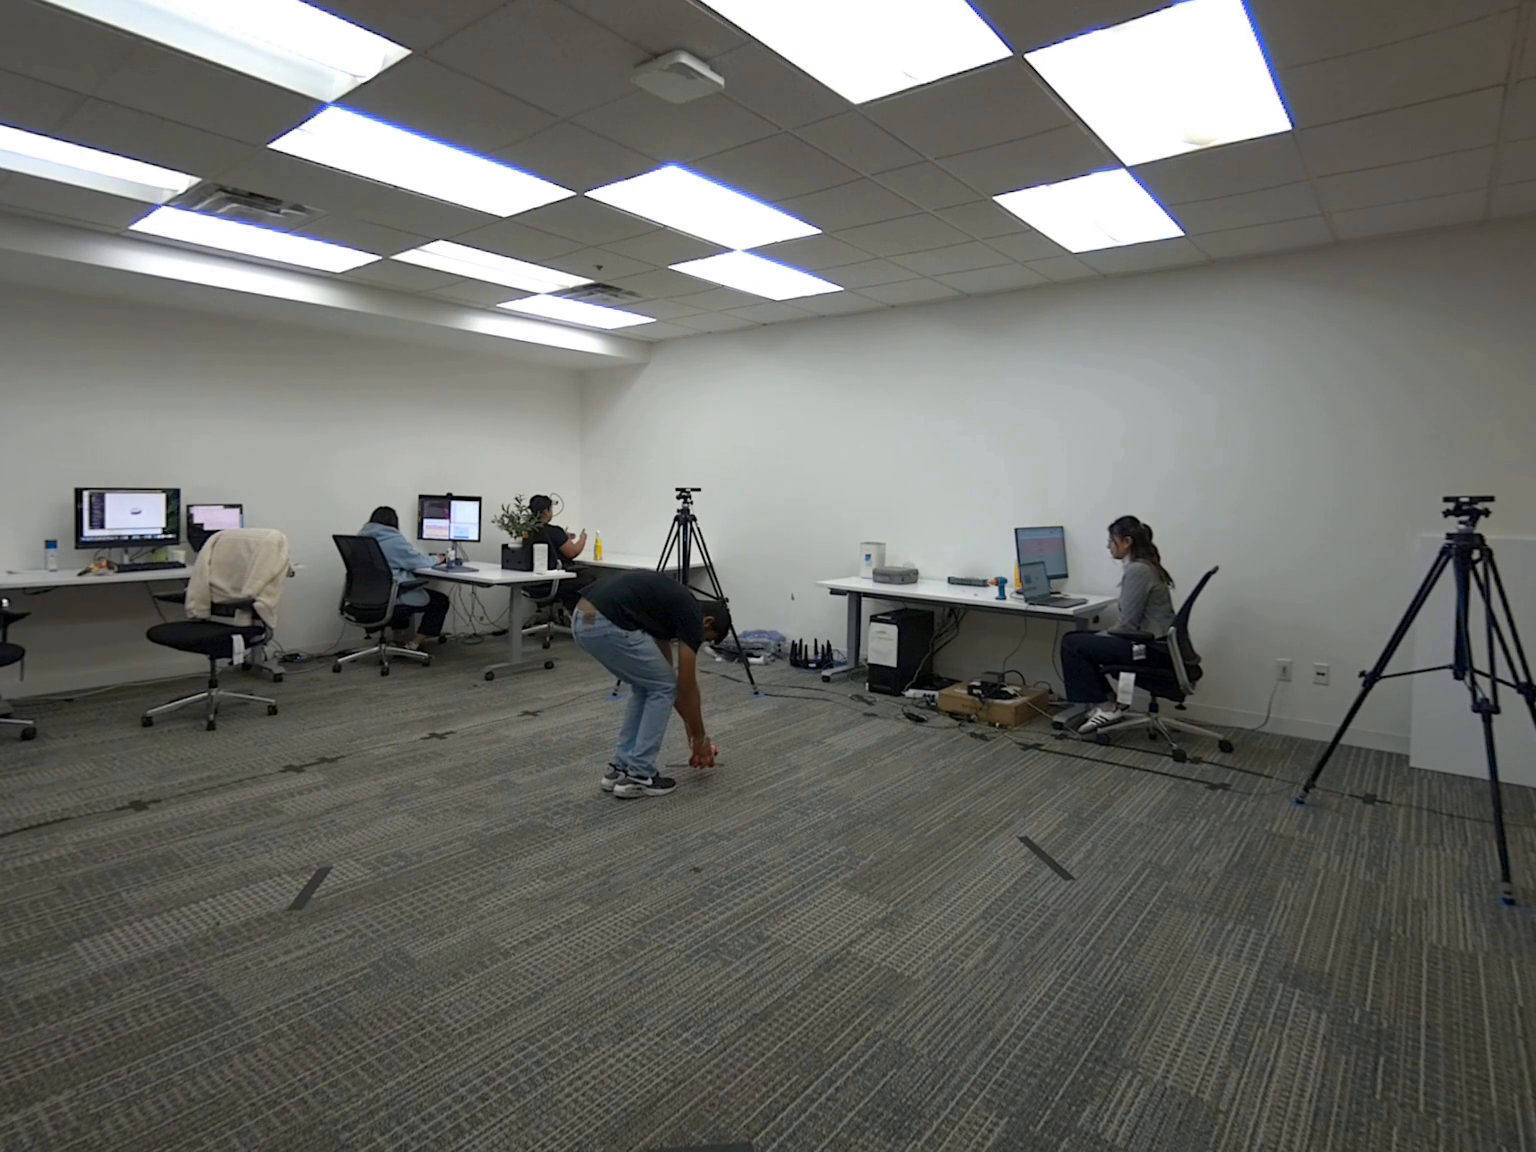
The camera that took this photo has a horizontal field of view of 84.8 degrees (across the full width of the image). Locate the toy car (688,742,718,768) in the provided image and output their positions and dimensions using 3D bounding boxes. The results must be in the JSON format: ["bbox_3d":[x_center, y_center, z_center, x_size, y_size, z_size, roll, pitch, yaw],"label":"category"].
[{"bbox_3d":[-0.328,0.855,4.128,0.131,0.083,0.252,-1,0,8],"label":"toy car"}]
